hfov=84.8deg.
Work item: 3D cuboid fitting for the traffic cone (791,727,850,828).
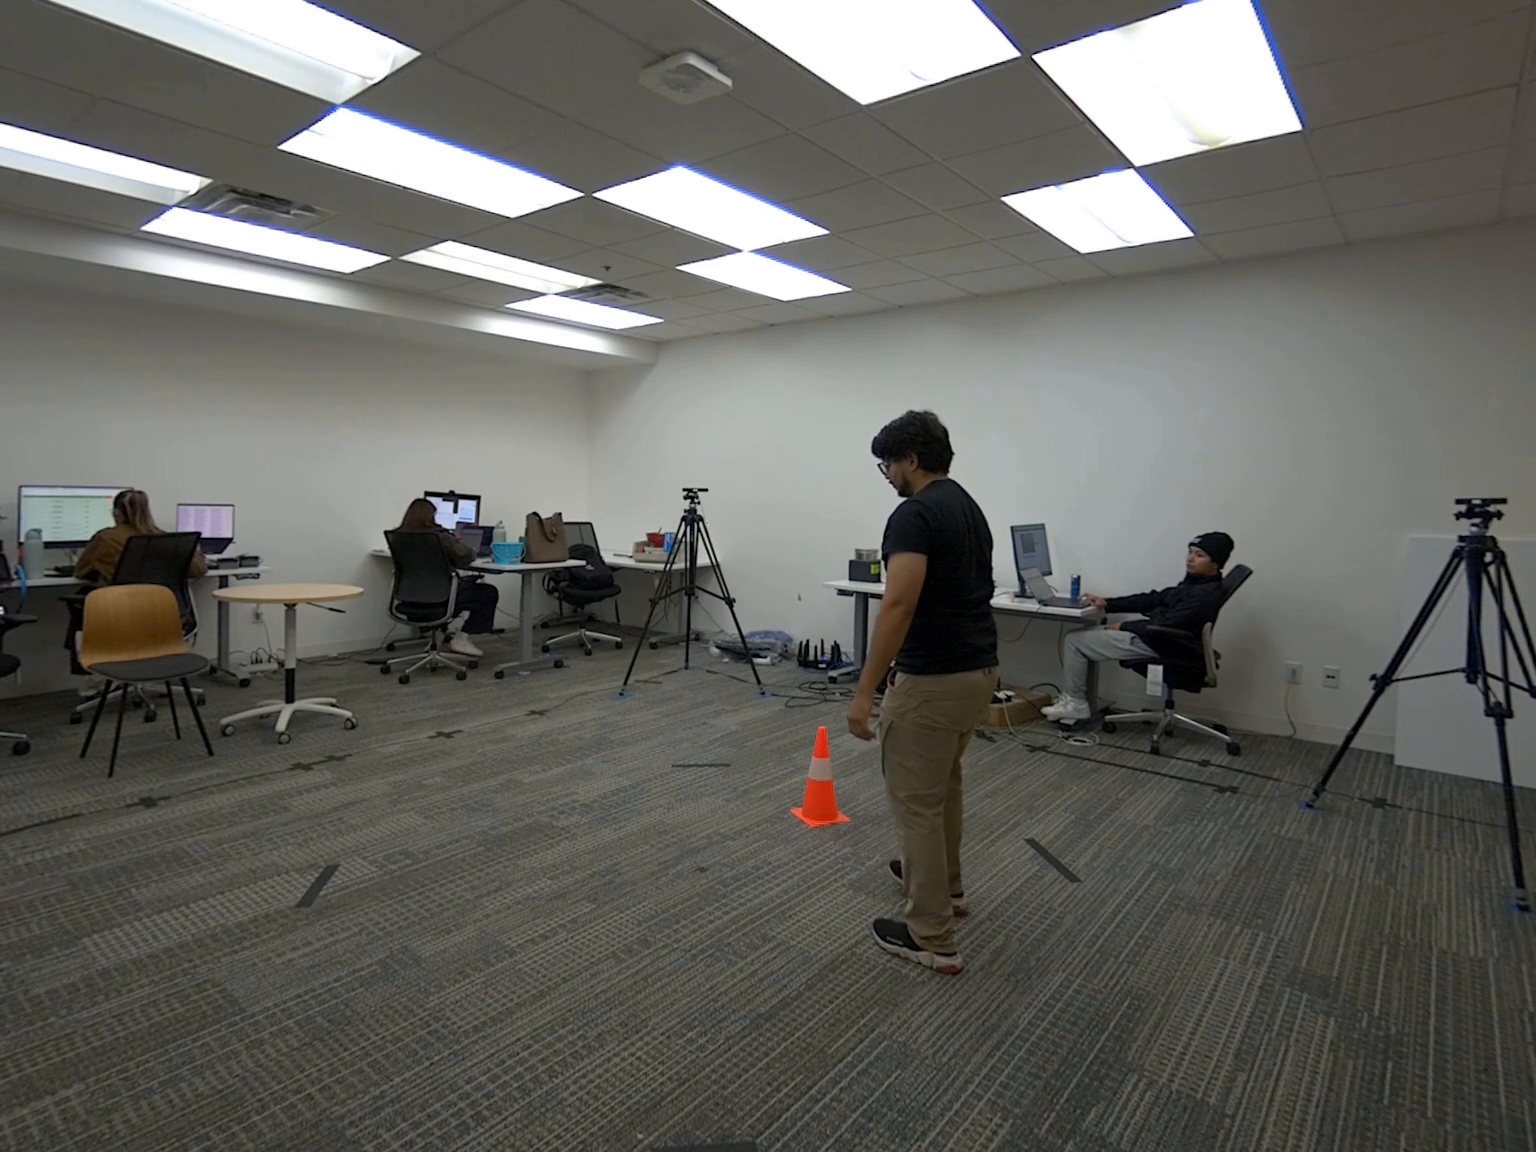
[{"bbox_3d":[0.222,0.843,3.652,0.198,0.382,0.211,-1,5,-26],"label":"traffic cone"}]
